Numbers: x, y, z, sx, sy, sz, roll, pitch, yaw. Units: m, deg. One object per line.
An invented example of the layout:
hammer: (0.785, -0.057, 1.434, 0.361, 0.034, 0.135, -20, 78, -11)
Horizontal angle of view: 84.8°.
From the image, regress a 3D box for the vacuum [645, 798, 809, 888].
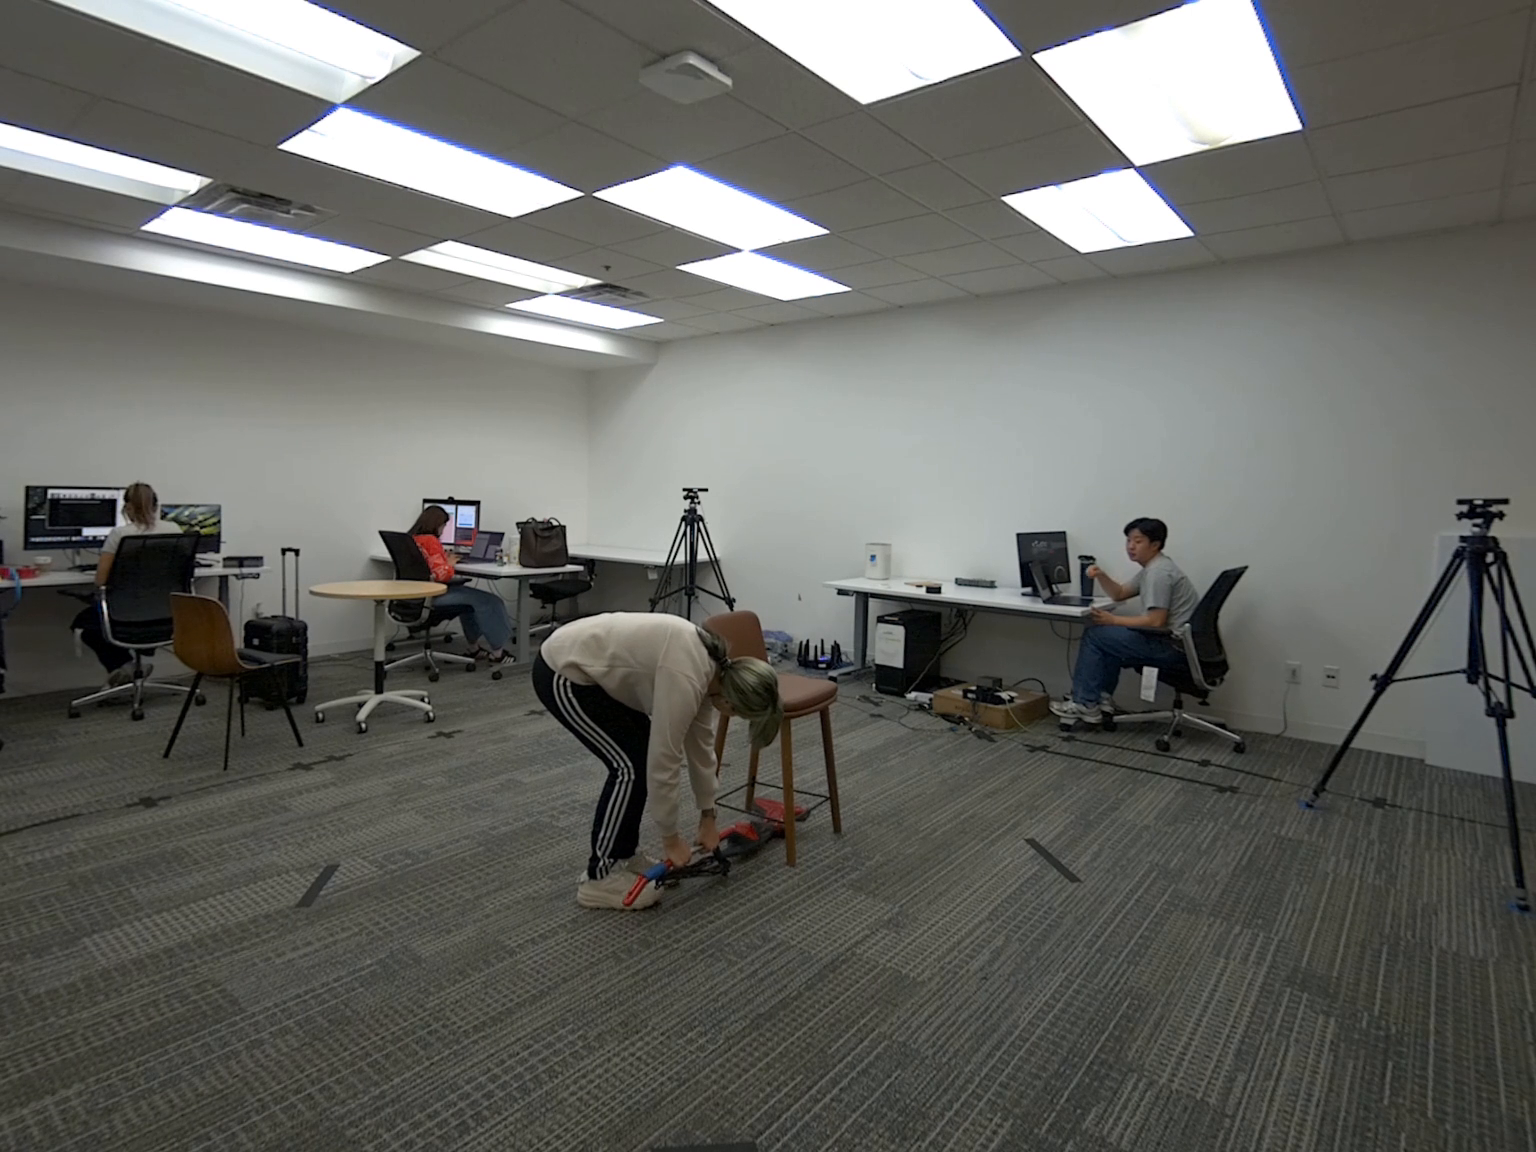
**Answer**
vacuum: (-0.196, 0.992, 3.028, 0.260, 0.144, 1.021, 4, 3, 27)
